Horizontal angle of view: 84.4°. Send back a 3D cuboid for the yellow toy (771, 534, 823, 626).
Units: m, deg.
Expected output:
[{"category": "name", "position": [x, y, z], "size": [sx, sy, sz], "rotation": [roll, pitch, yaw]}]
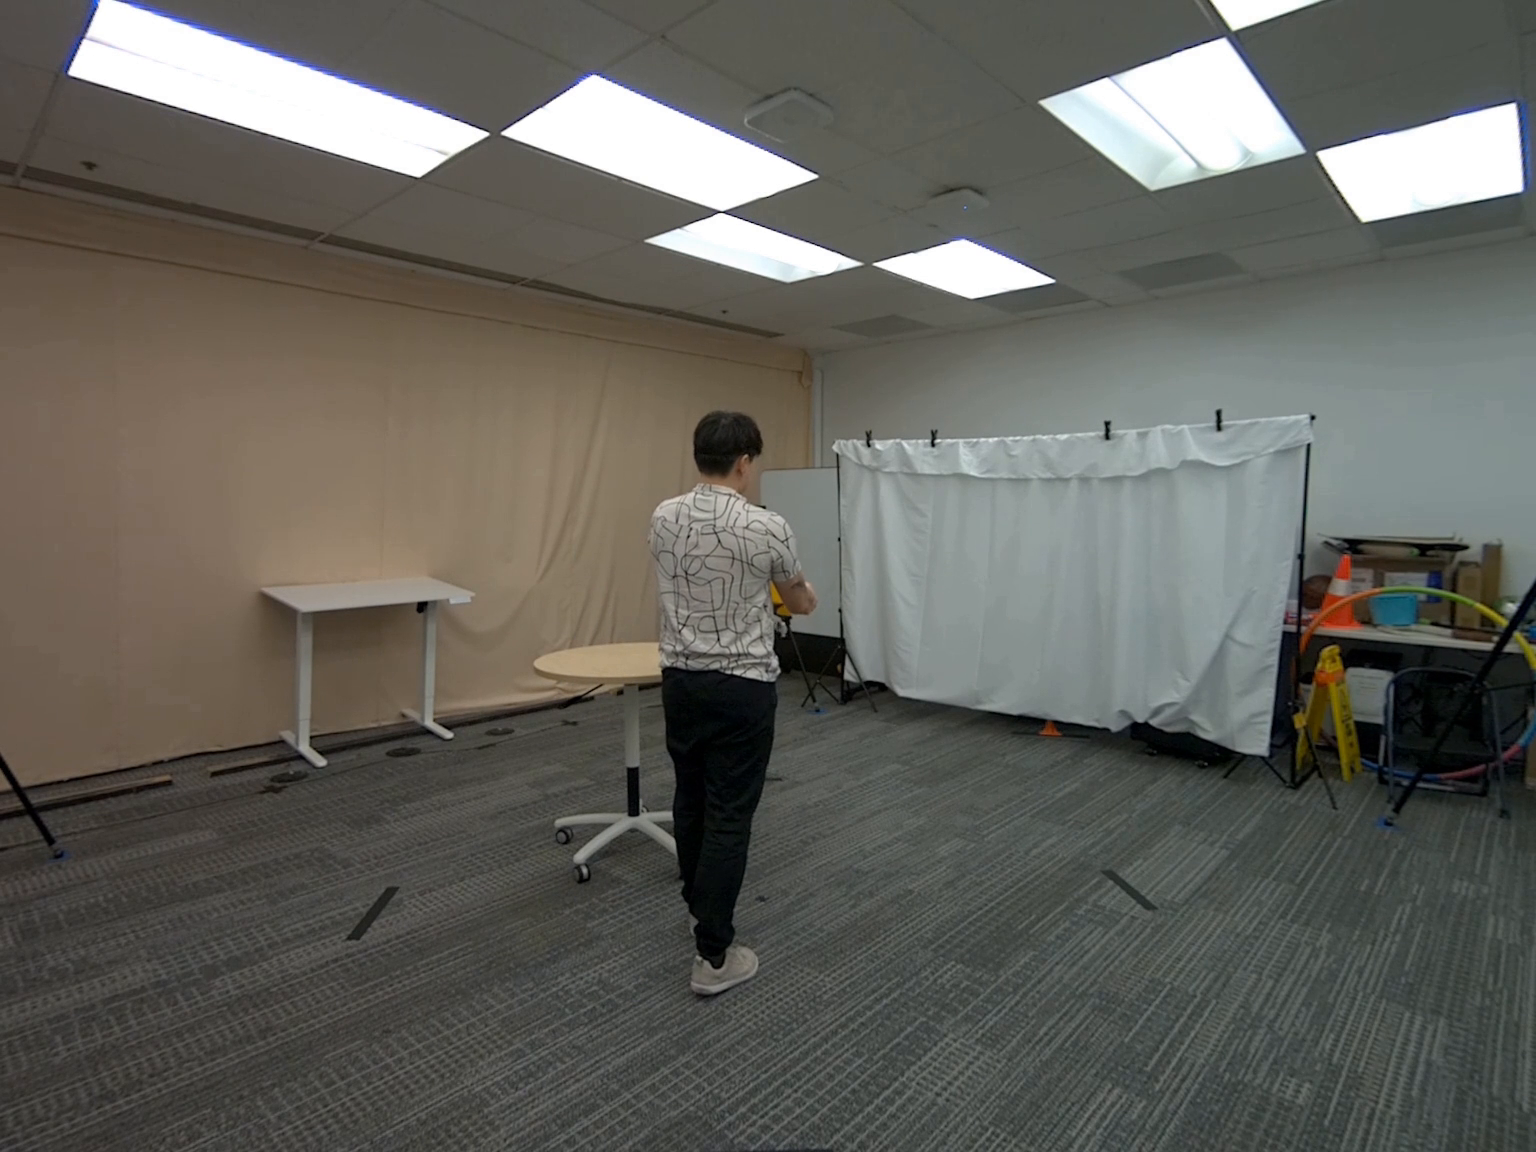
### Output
[{"category": "yellow toy", "position": [0.037, -0.002, 2.917], "size": [0.211, 0.225, 0.191], "rotation": [12, 42, 32]}]
